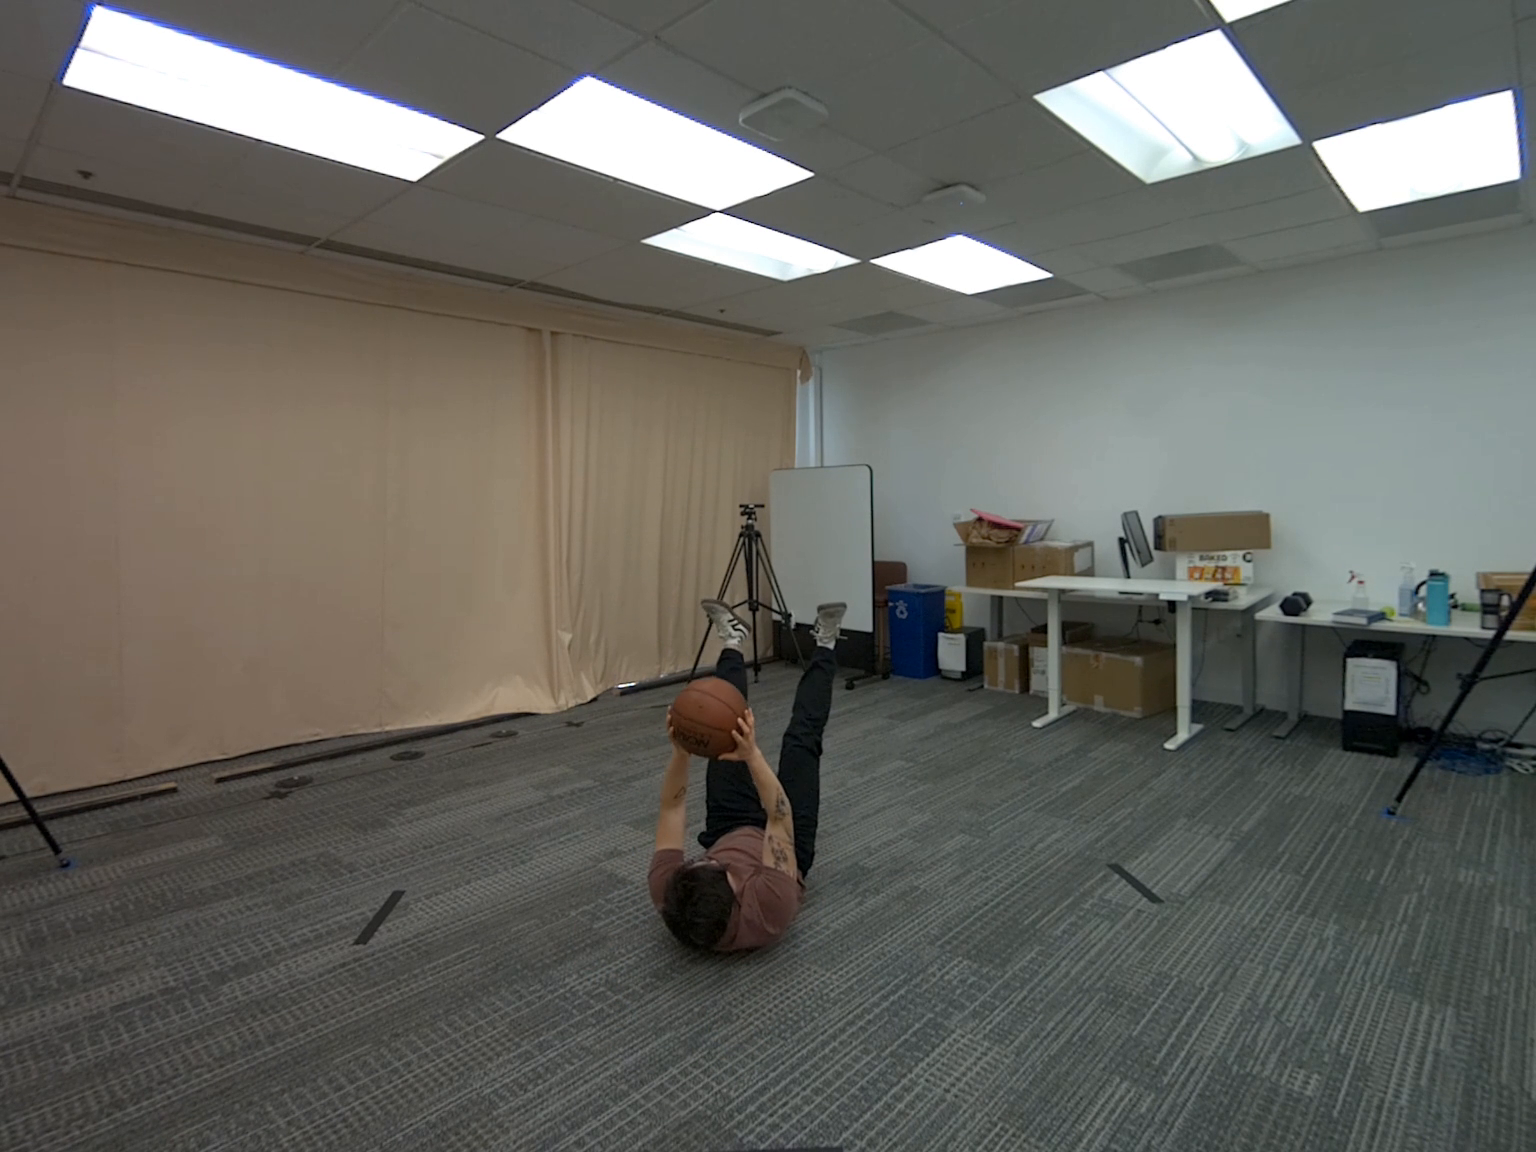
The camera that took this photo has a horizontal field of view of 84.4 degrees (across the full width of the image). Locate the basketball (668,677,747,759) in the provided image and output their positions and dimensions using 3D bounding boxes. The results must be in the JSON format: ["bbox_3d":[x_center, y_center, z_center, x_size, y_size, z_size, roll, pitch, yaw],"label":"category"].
[{"bbox_3d":[-0.173,0.428,2.523,0.235,0.235,0.237,3,5,-2],"label":"basketball"}]
